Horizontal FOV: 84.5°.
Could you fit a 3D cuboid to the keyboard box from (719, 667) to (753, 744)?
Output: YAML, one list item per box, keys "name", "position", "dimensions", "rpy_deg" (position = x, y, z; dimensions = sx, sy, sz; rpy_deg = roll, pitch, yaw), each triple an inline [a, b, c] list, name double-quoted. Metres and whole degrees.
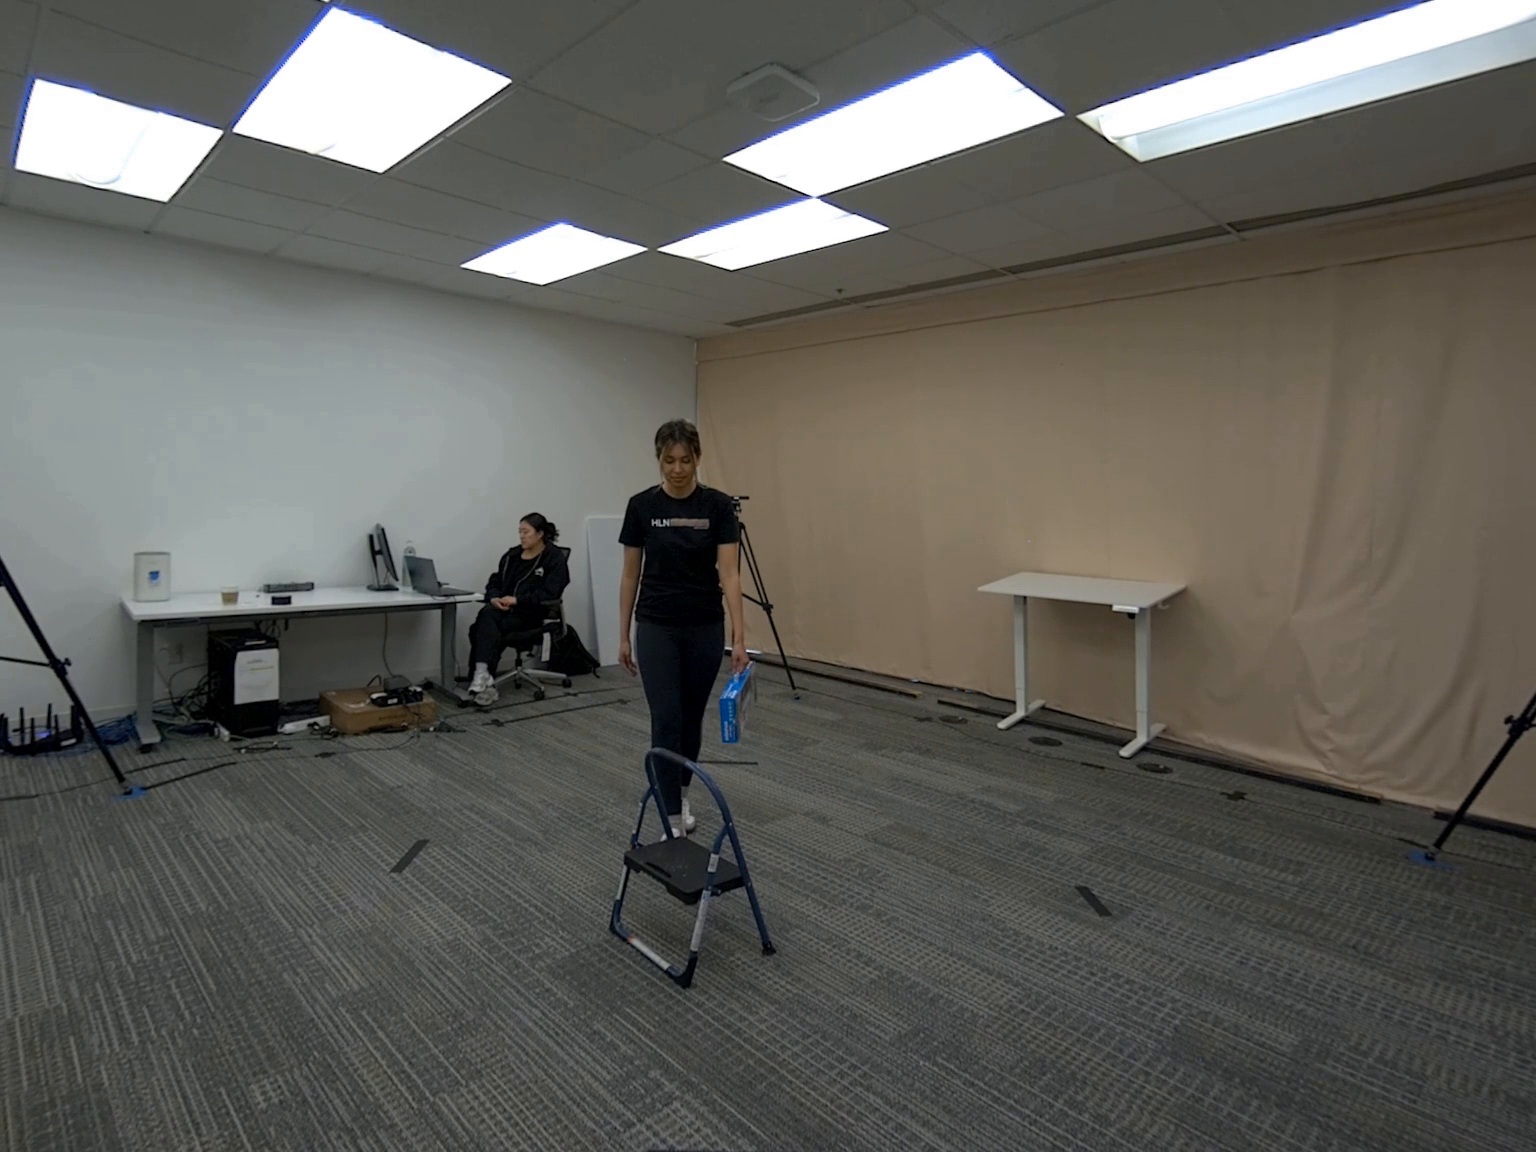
- name: "keyboard box"
  position: [-0.124, 0.473, 3.253]
  dimensions: [0.059, 0.174, 0.437]
  rpy_deg: [-1, 12, 8]
